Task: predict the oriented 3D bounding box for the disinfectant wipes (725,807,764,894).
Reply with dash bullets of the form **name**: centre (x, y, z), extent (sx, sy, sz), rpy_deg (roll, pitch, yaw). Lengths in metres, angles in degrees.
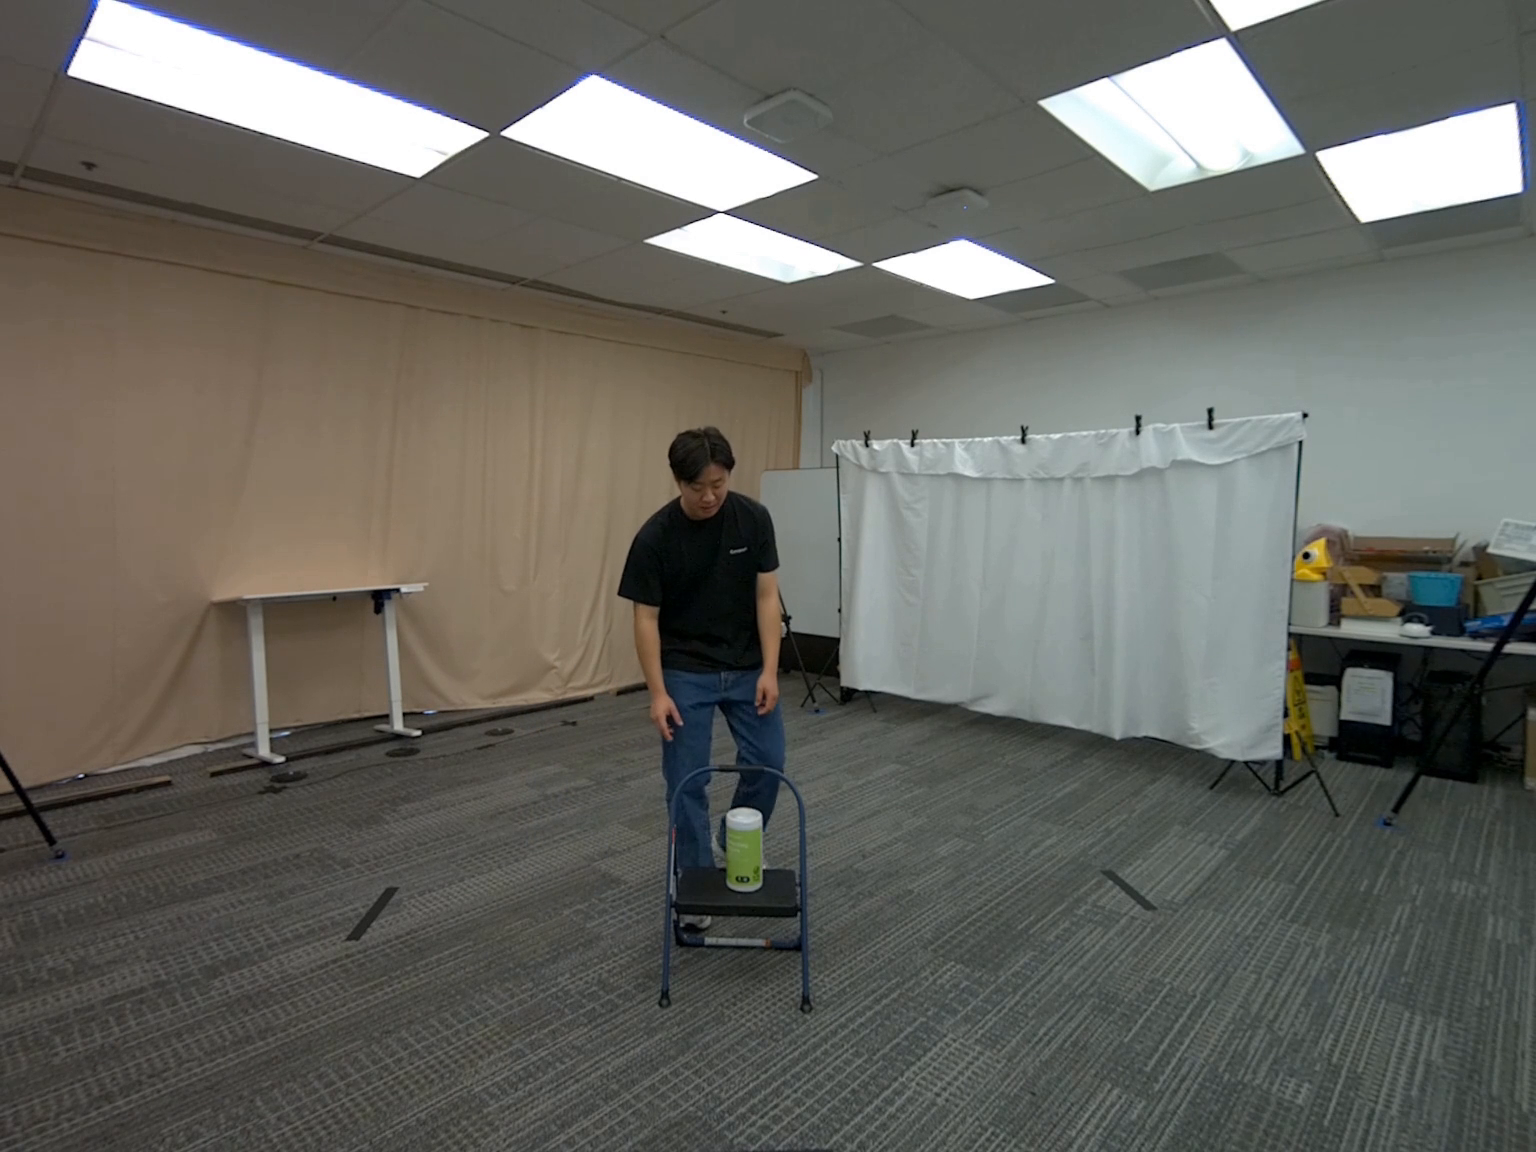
- **disinfectant wipes**: centre (-0.071, 0.813, 2.511), extent (0.118, 0.216, 0.118), rpy_deg (-1, 6, -2)
